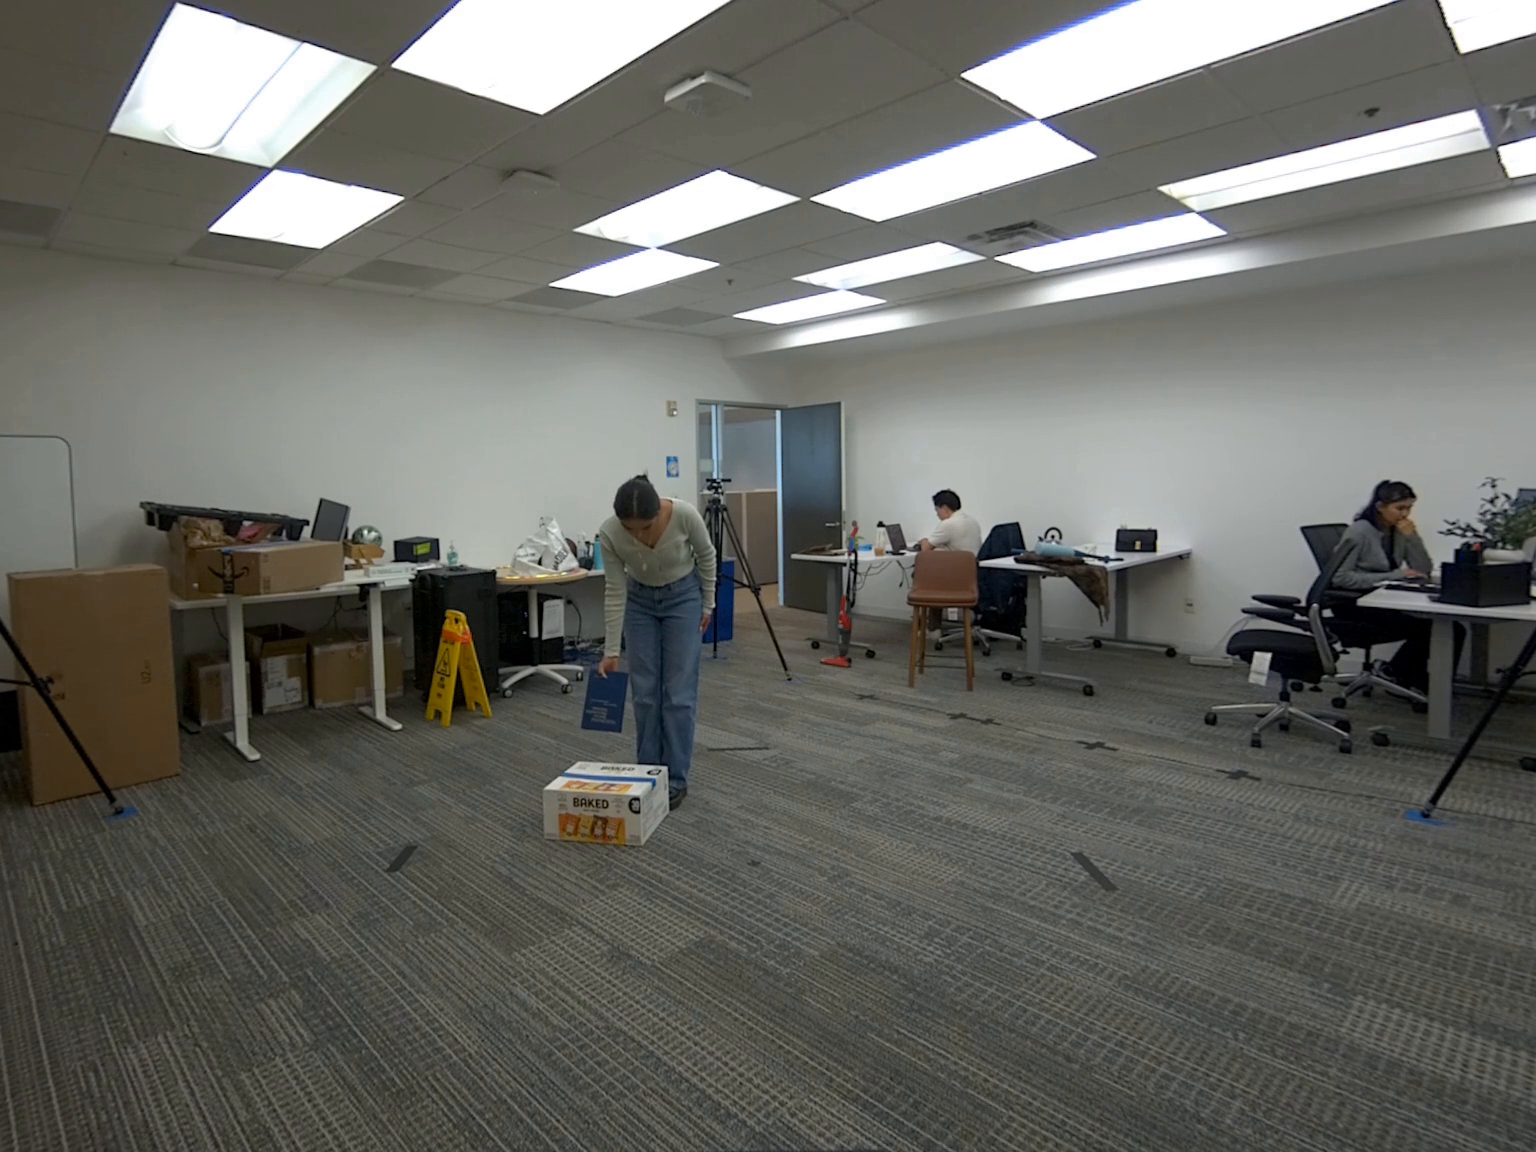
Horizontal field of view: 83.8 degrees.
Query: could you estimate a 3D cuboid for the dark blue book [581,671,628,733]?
[{"bbox_3d":[-0.681,0.519,3.558,0.164,0.248,0.044,4,-16,4],"label":"dark blue book"}]
